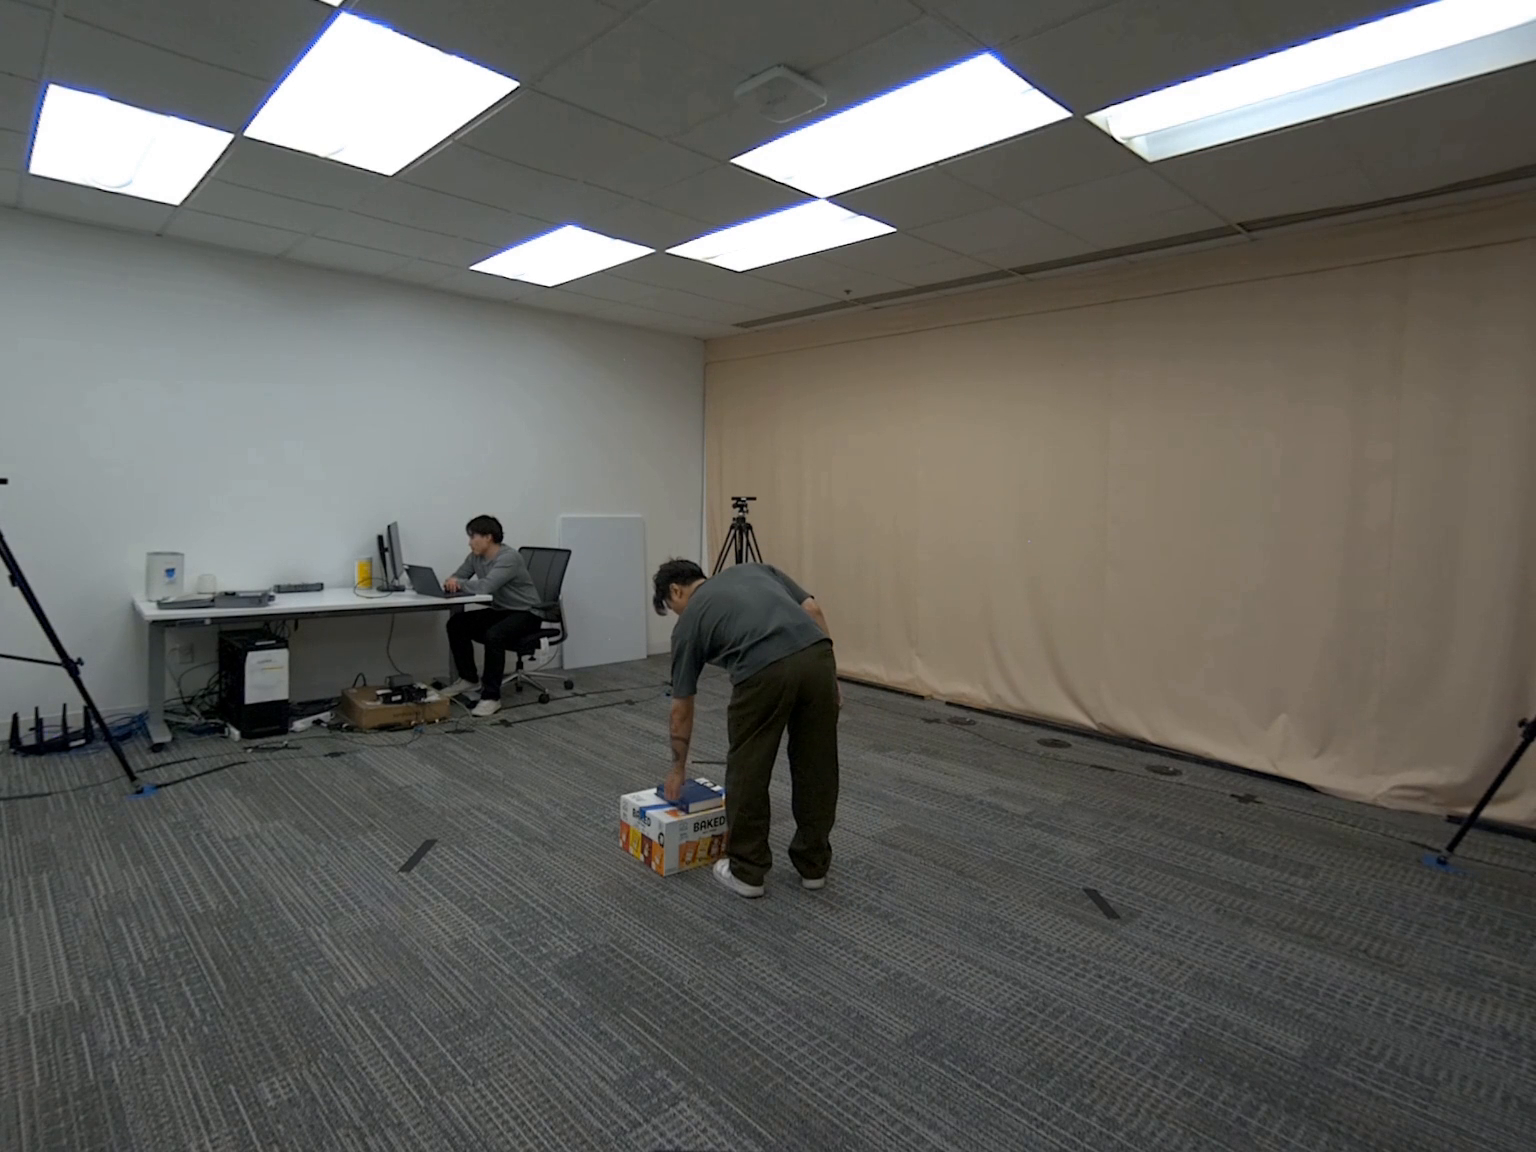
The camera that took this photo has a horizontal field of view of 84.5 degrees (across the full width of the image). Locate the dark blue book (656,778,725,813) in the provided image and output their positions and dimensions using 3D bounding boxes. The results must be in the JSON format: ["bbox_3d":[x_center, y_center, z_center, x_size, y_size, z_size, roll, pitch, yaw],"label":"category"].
[{"bbox_3d":[-0.320,0.869,3.322,0.160,0.045,0.251,-3,6,-37],"label":"dark blue book"}]
